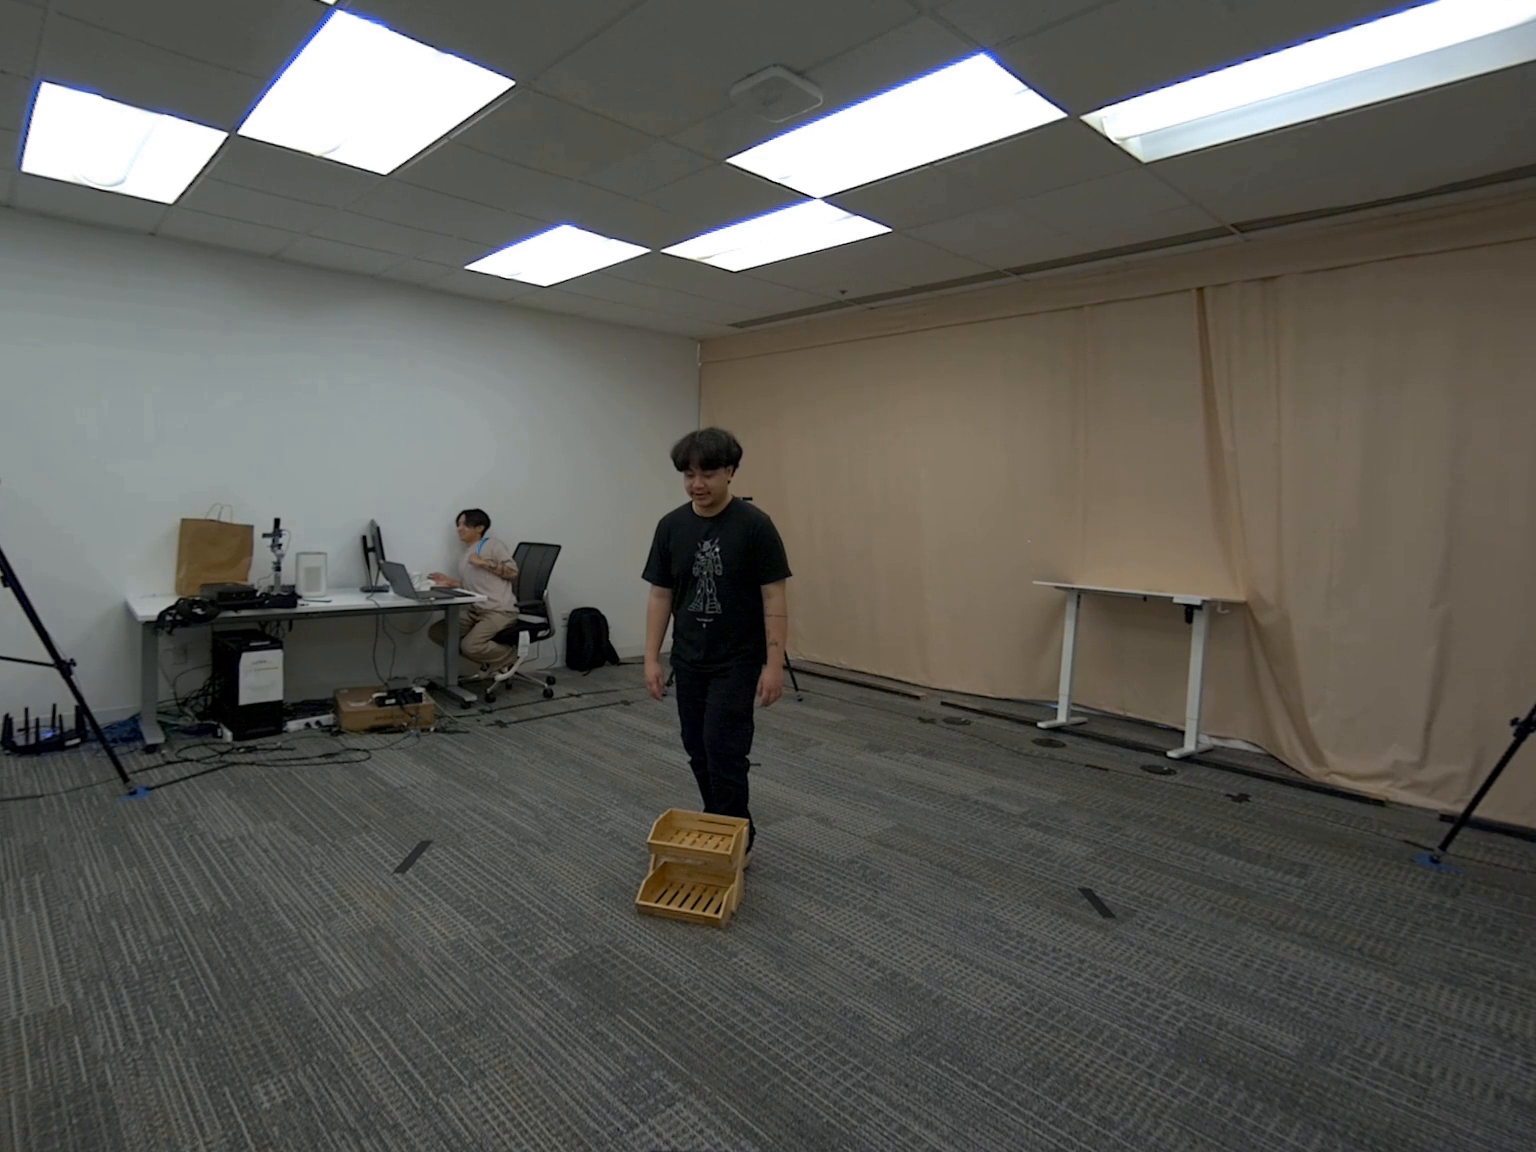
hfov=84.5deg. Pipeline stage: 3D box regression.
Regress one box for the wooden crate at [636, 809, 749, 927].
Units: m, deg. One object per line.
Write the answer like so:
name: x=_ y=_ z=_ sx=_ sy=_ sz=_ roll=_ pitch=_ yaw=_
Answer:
wooden crate: x=-0.264 y=0.994 z=2.880 sx=0.329 sy=0.273 sz=0.299 roll=2 pitch=4 yaw=16
